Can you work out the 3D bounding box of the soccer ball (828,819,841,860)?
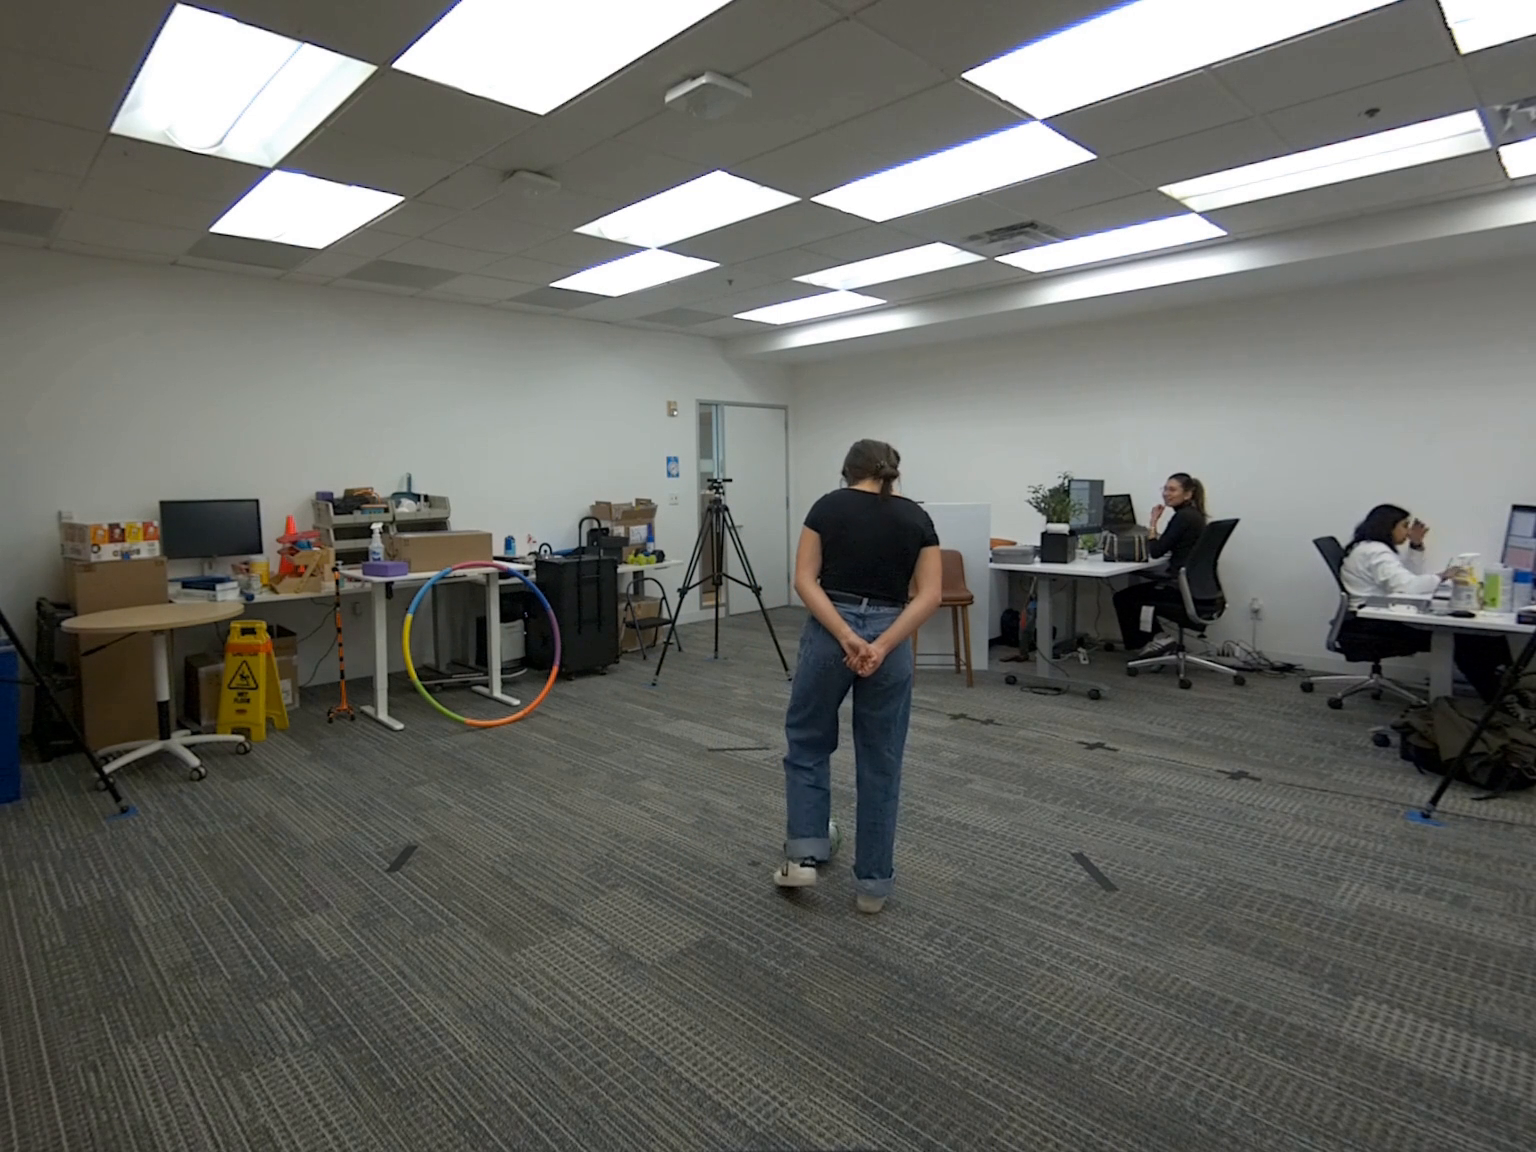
[{"bbox_3d":[0.182,0.947,3.128,0.187,0.187,0.188,-1,5,-2],"label":"soccer ball"}]
